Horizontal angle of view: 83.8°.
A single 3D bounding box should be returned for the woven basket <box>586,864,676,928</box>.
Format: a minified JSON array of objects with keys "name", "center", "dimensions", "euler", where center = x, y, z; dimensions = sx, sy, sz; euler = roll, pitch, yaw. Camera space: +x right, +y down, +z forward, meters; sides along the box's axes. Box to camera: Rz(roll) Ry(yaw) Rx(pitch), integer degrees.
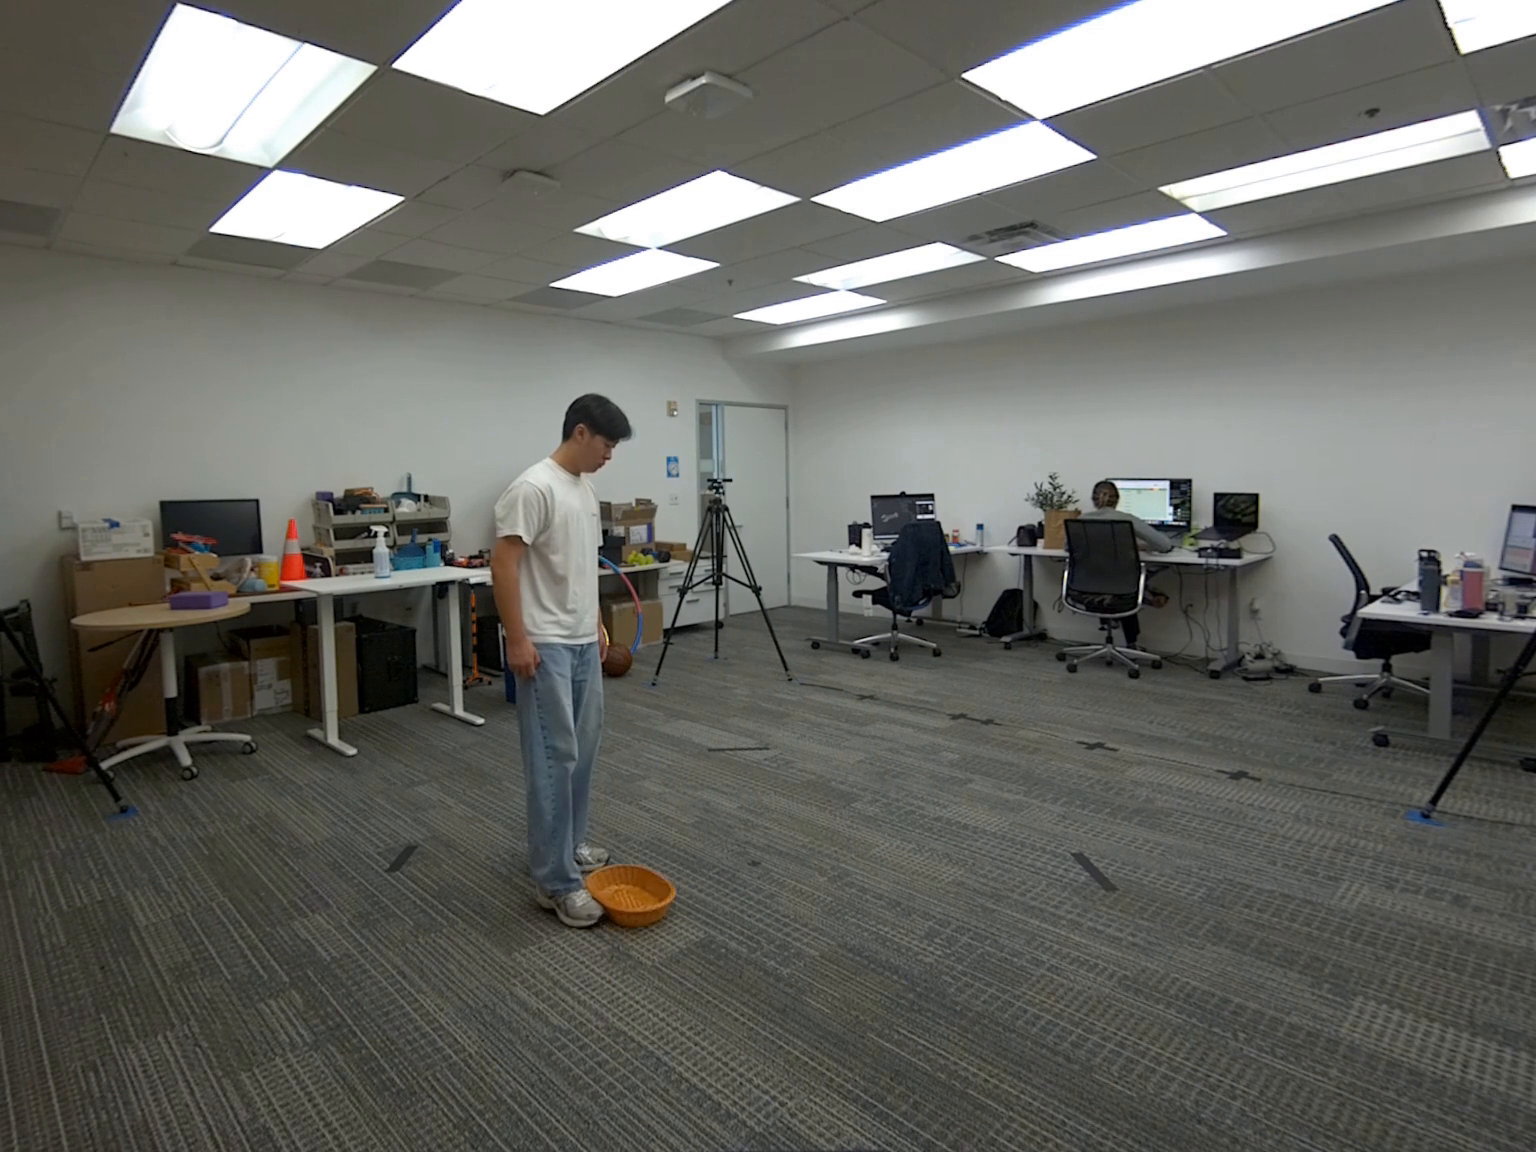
[{"name":"woven basket","center":[-0.447,1.043,2.815],"dimensions":[0.246,0.073,0.361],"euler":[-5,8,-37]}]
